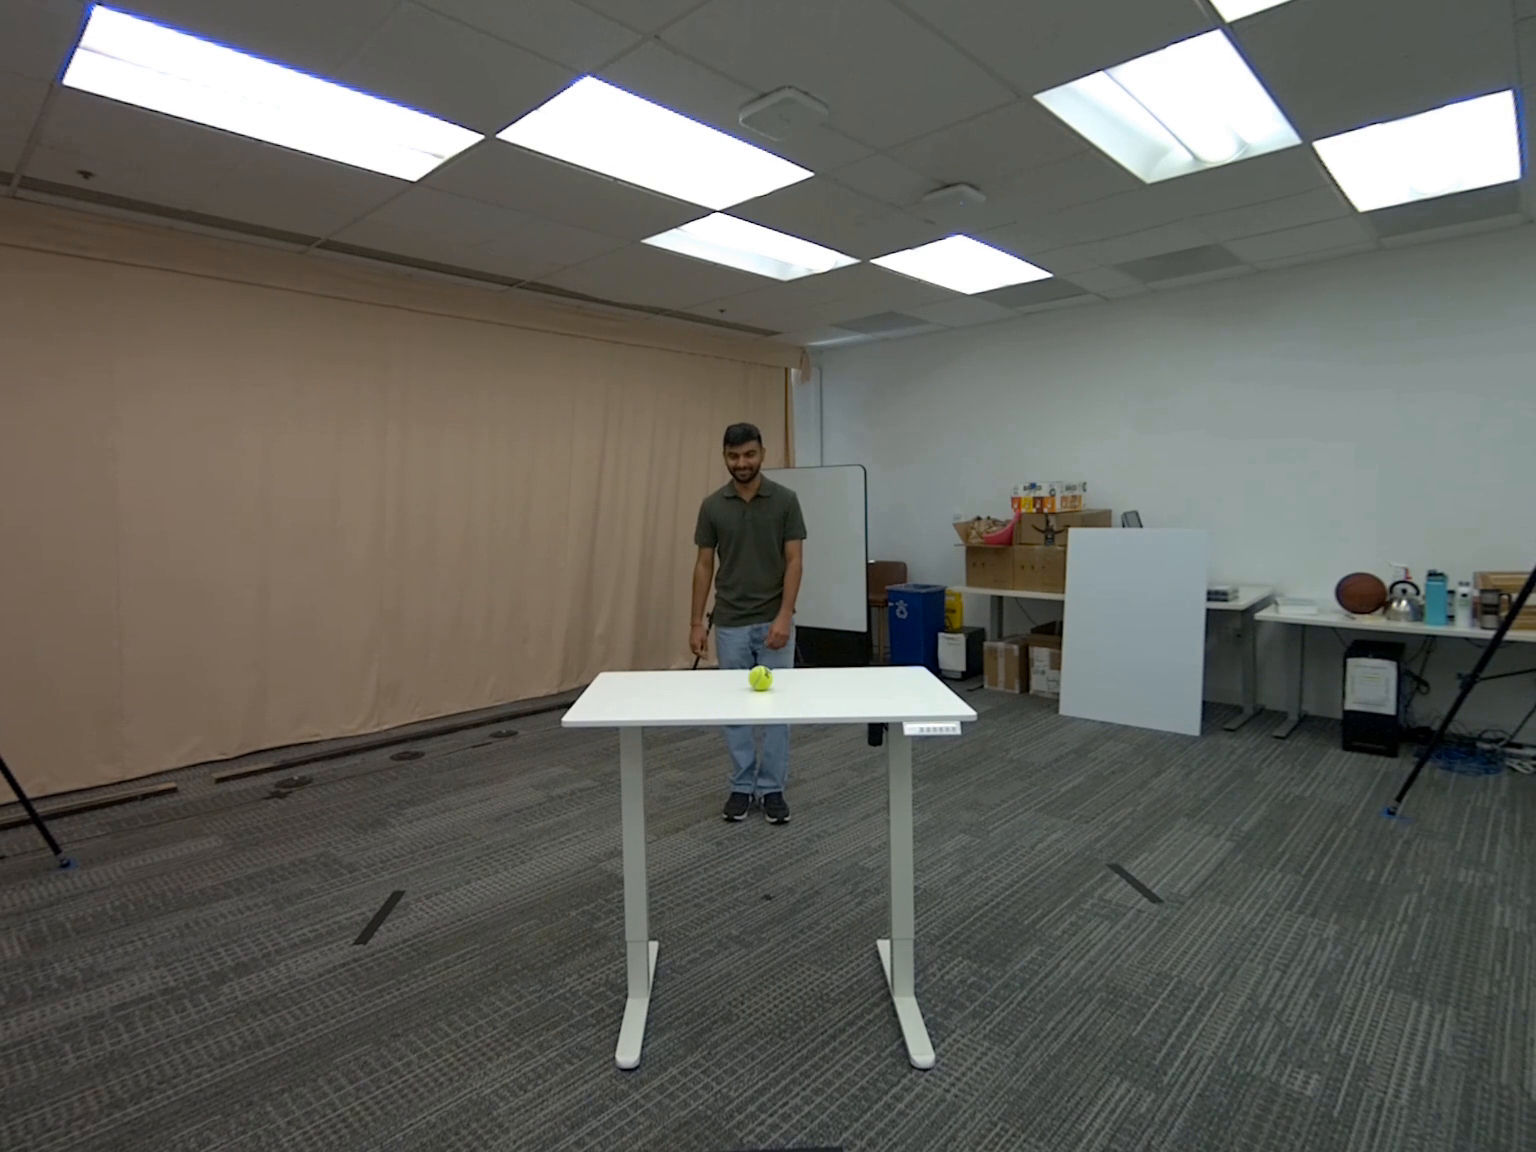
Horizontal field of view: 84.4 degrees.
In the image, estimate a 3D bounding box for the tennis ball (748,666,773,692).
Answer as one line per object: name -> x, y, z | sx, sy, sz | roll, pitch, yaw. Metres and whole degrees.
tennis ball -> -0.018, 0.282, 2.335 | 0.066, 0.066, 0.067 | -1, 4, -2
